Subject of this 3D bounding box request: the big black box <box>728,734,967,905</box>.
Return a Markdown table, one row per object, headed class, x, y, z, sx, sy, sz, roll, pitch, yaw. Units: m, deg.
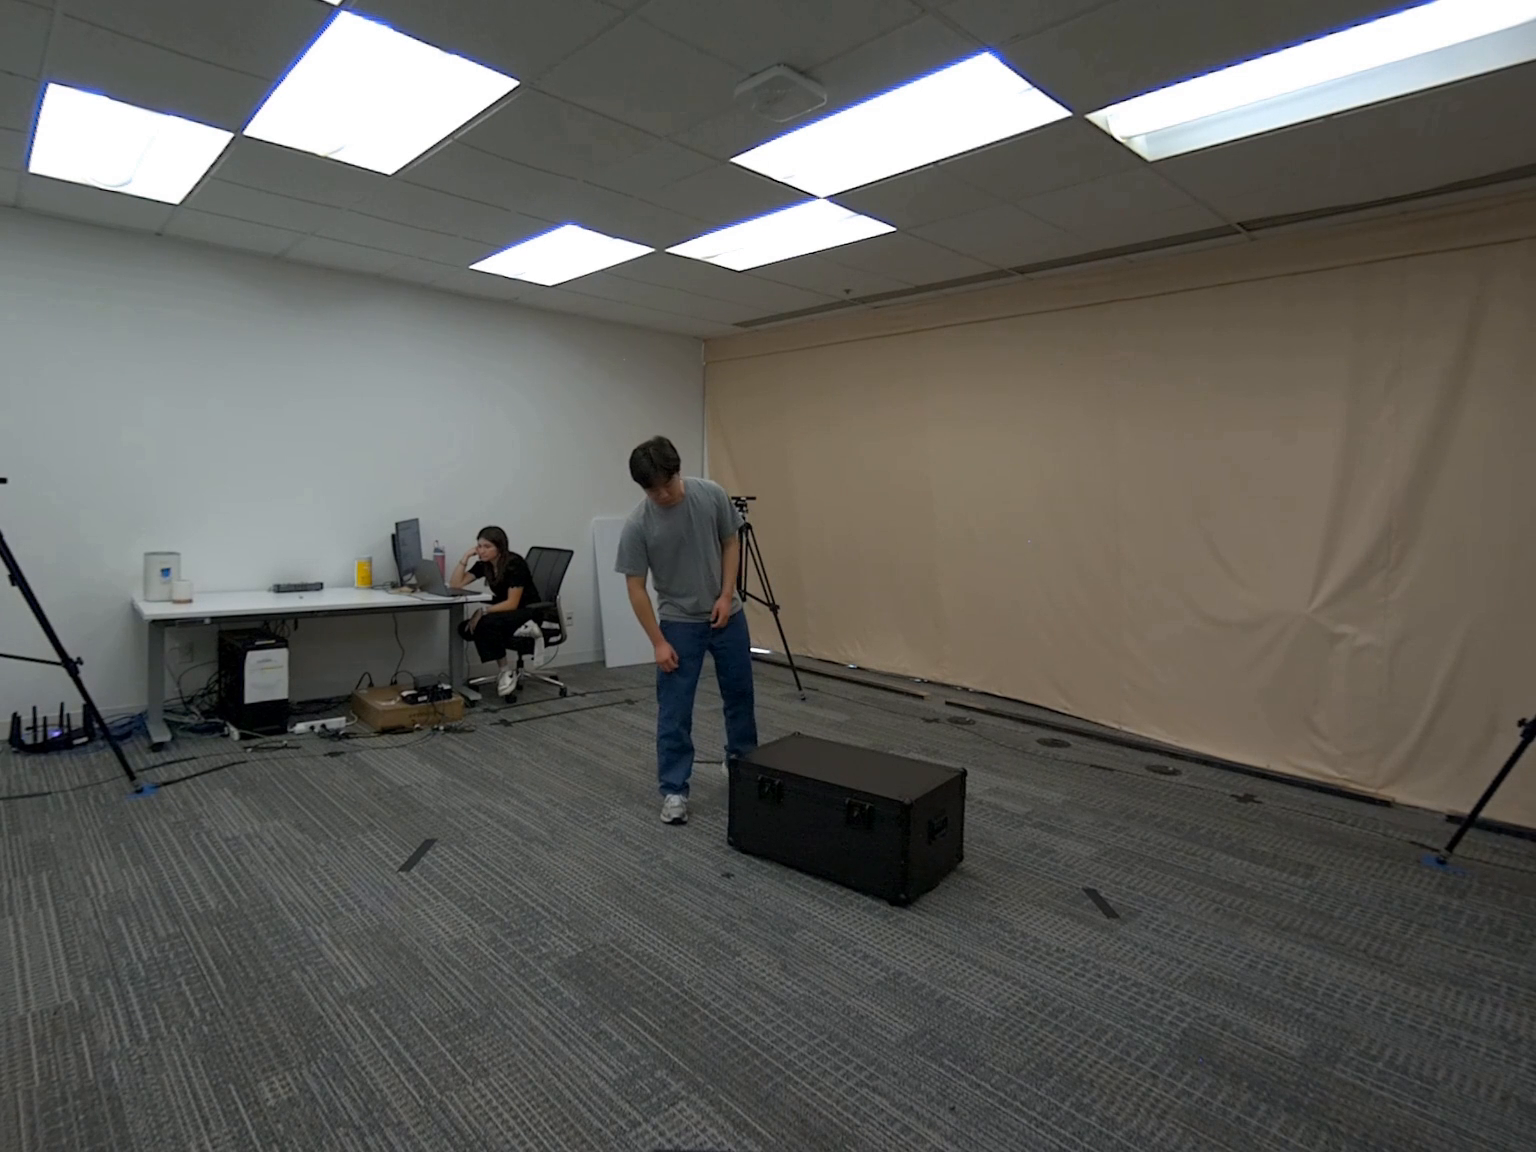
| class | x | y | z | sx | sy | sz | roll | pitch | yaw |
| --- | --- | --- | --- | --- | --- | --- | --- | --- | --- |
| big black box | 0.264 | 0.908 | 3.290 | 0.882 | 0.395 | 0.510 | 4 | 5 | 37 |
